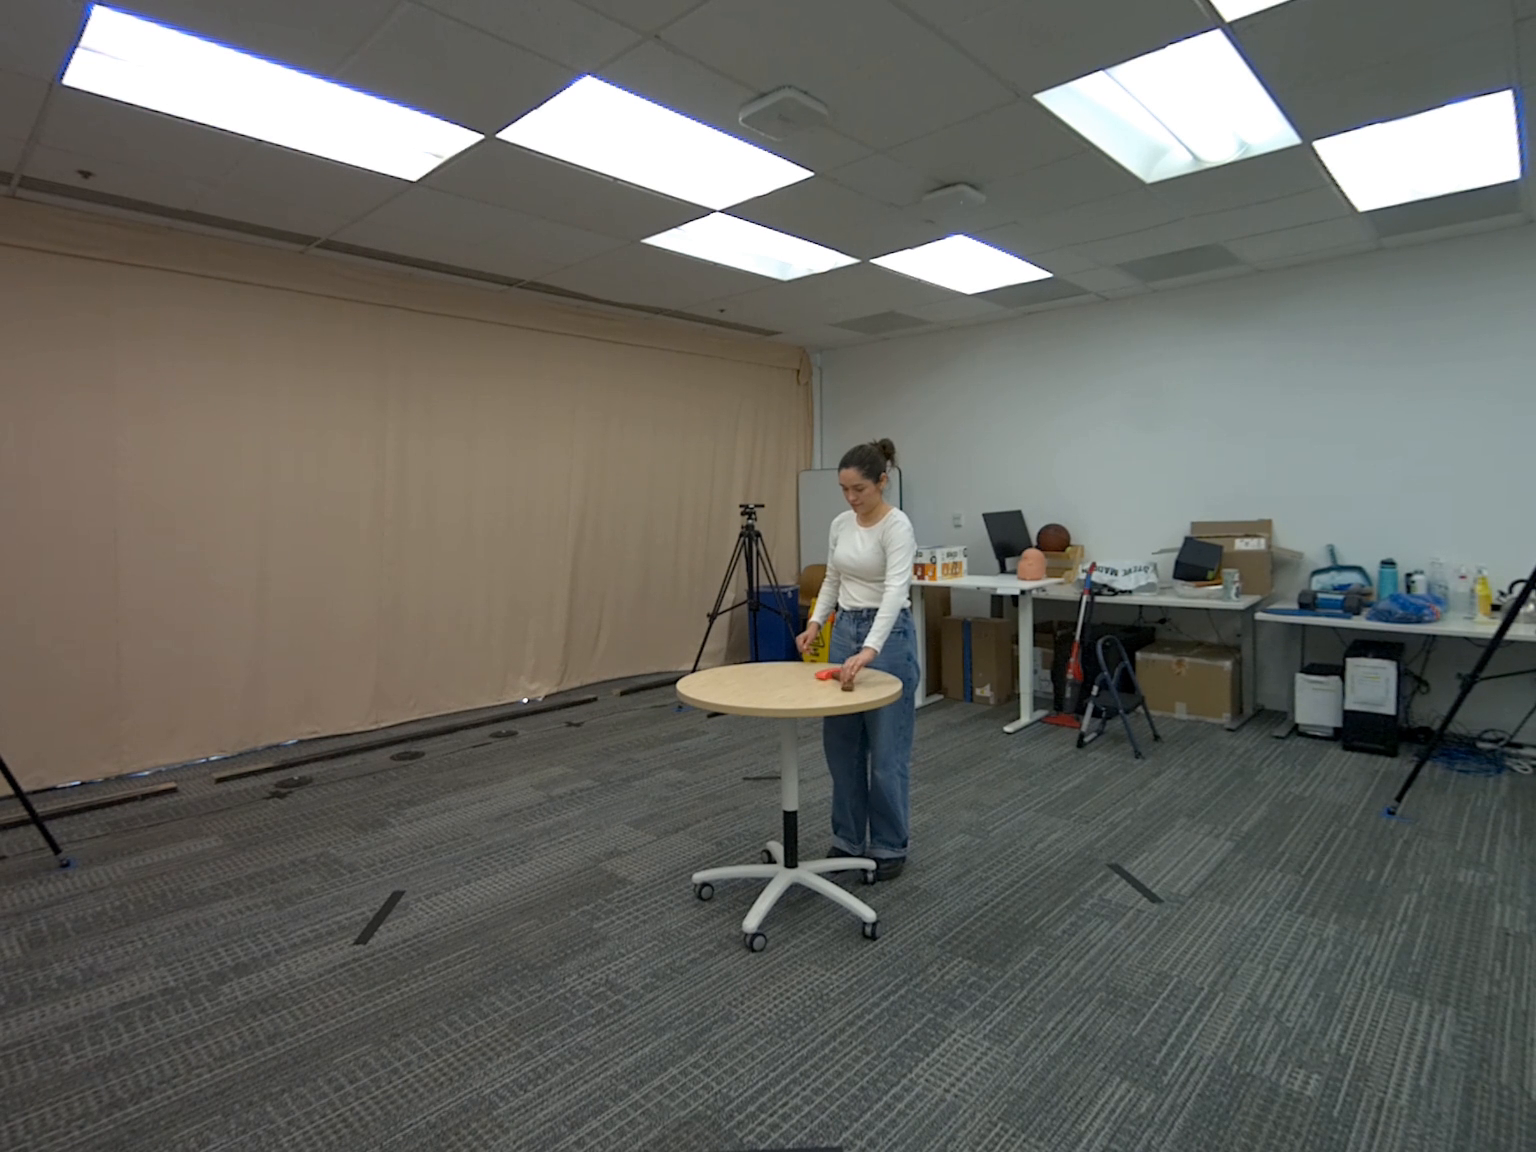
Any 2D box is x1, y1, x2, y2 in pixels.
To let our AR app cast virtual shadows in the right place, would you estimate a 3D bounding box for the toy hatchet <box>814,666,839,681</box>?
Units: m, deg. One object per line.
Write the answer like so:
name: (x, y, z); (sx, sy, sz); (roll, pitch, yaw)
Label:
toy hatchet: (0.221, 0.356, 2.838); (0.132, 0.029, 0.269); (0, 7, 6)
